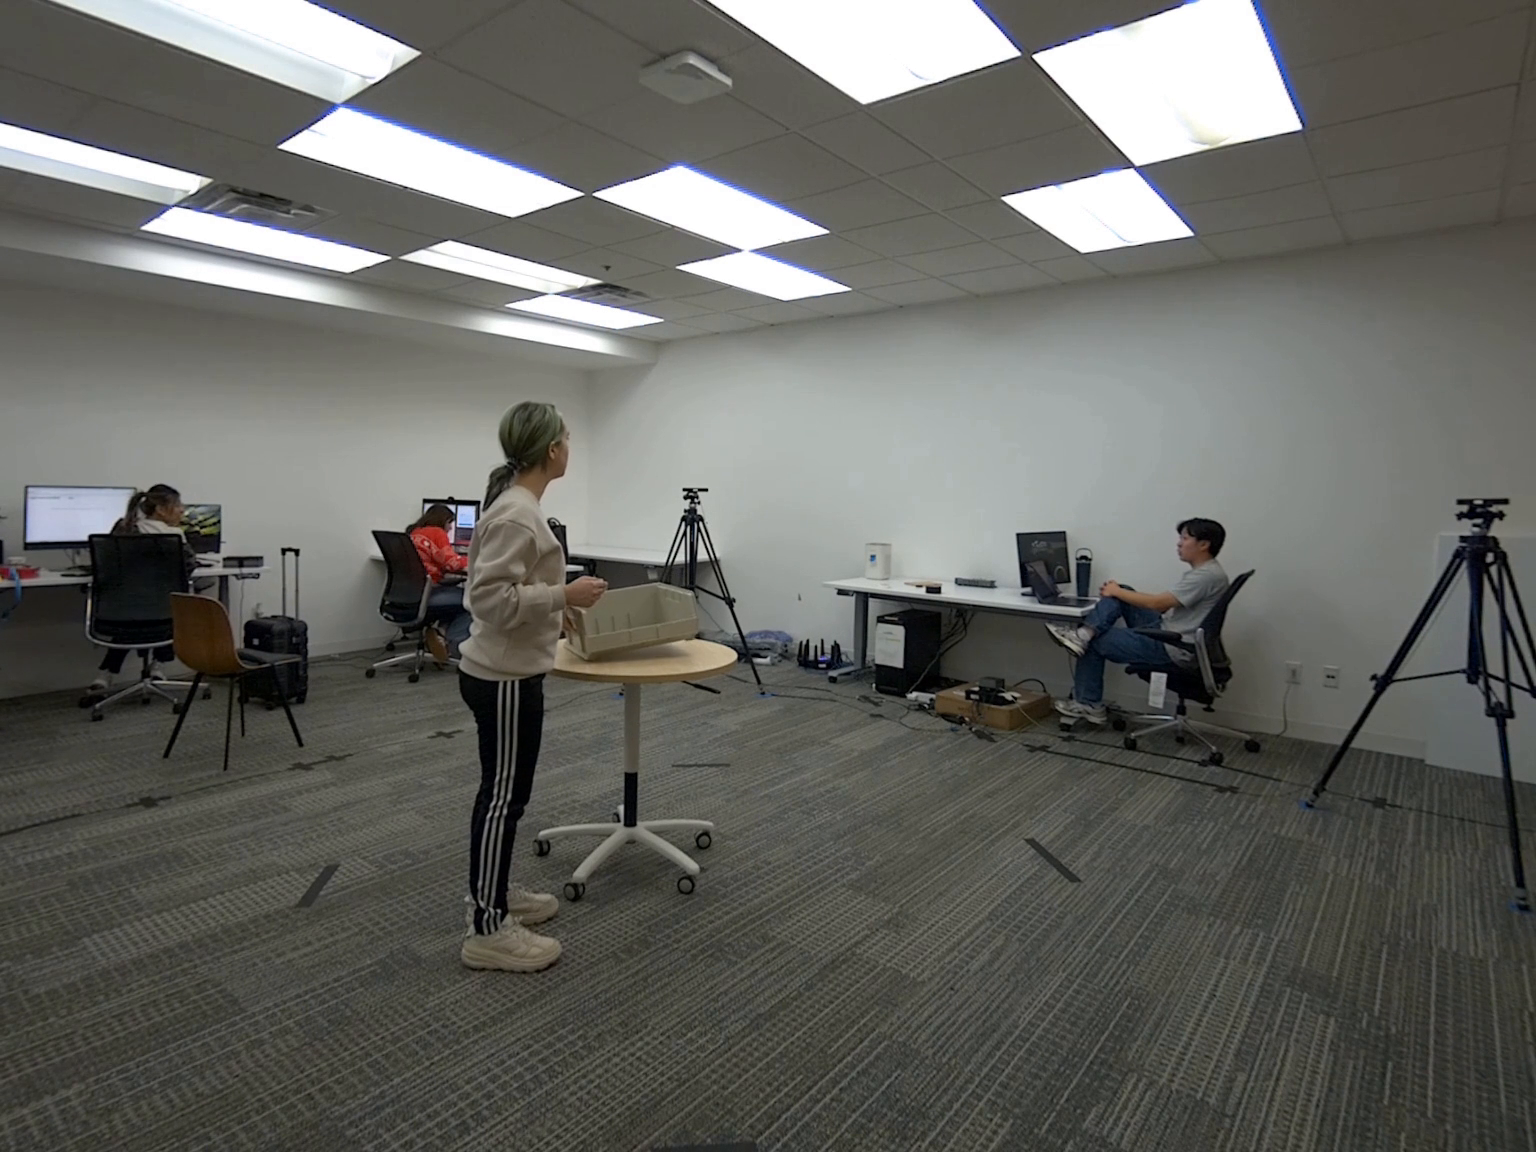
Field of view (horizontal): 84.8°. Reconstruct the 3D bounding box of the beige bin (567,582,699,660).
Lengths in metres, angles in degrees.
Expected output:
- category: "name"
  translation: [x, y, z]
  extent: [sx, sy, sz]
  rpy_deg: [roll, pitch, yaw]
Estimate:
- category: "beige bin"
  translation: [-0.527, 0.158, 3.129]
  extent: [0.414, 0.188, 0.387]
  rpy_deg: [-10, 7, -25]
